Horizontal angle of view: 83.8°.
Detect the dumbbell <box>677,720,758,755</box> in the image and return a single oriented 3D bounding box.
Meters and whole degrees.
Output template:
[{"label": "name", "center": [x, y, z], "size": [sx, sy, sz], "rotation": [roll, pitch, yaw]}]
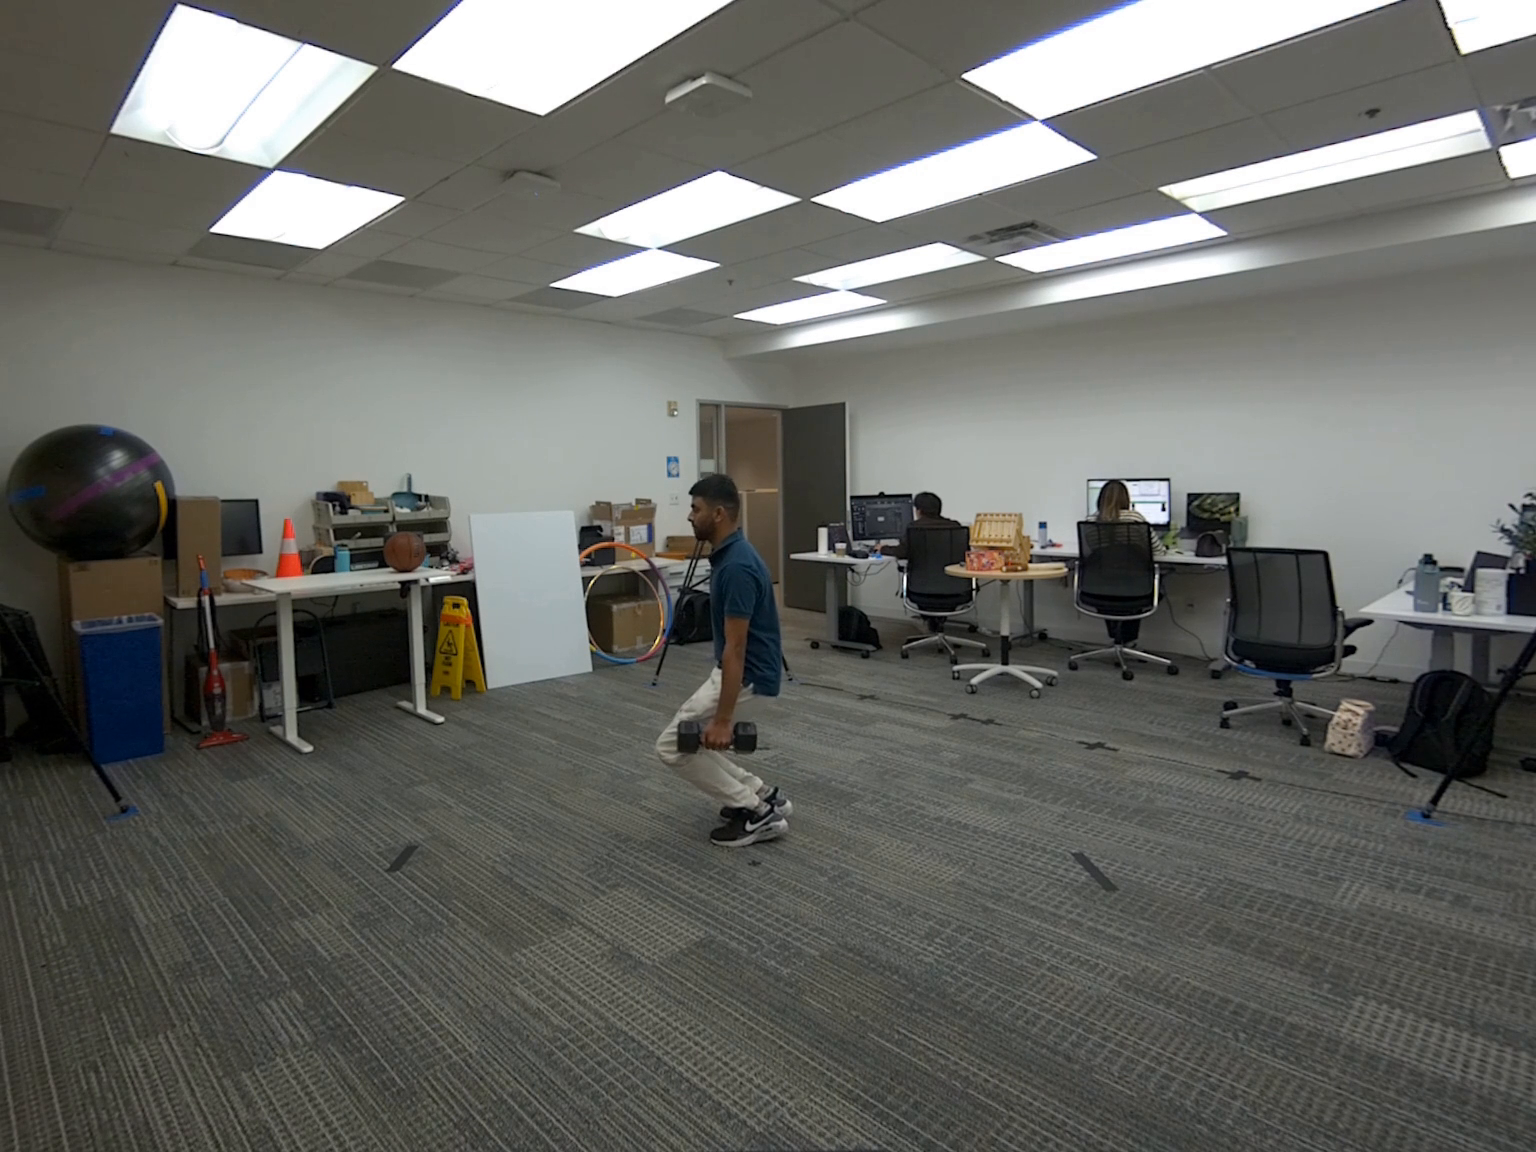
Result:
[{"label": "dumbbell", "center": [-0.188, 0.587, 3.177], "size": [0.292, 0.122, 0.110], "rotation": [0, 4, -6]}]
